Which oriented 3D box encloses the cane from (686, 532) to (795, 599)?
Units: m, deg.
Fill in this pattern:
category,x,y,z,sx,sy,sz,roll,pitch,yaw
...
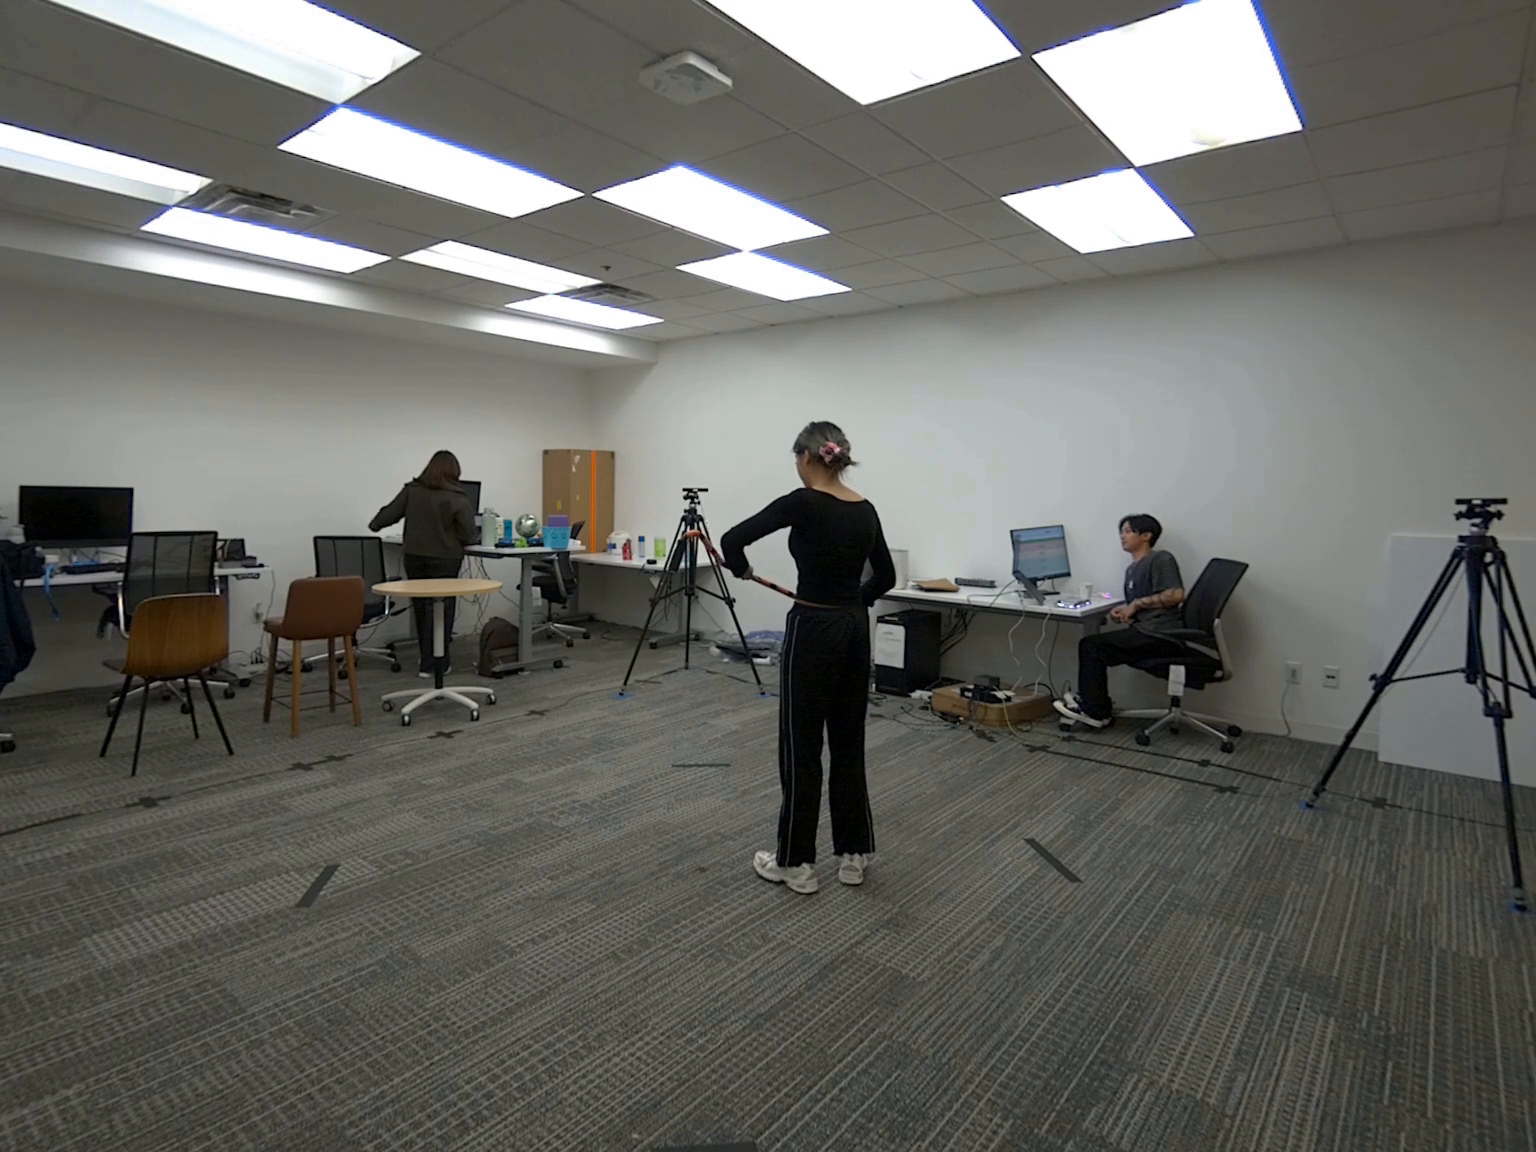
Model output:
category,x,y,z,sx,sy,sz,roll,pitch,yaw
cane,-0.002,0.039,3.185,0.874,0.207,0.157,23,-5,-34
